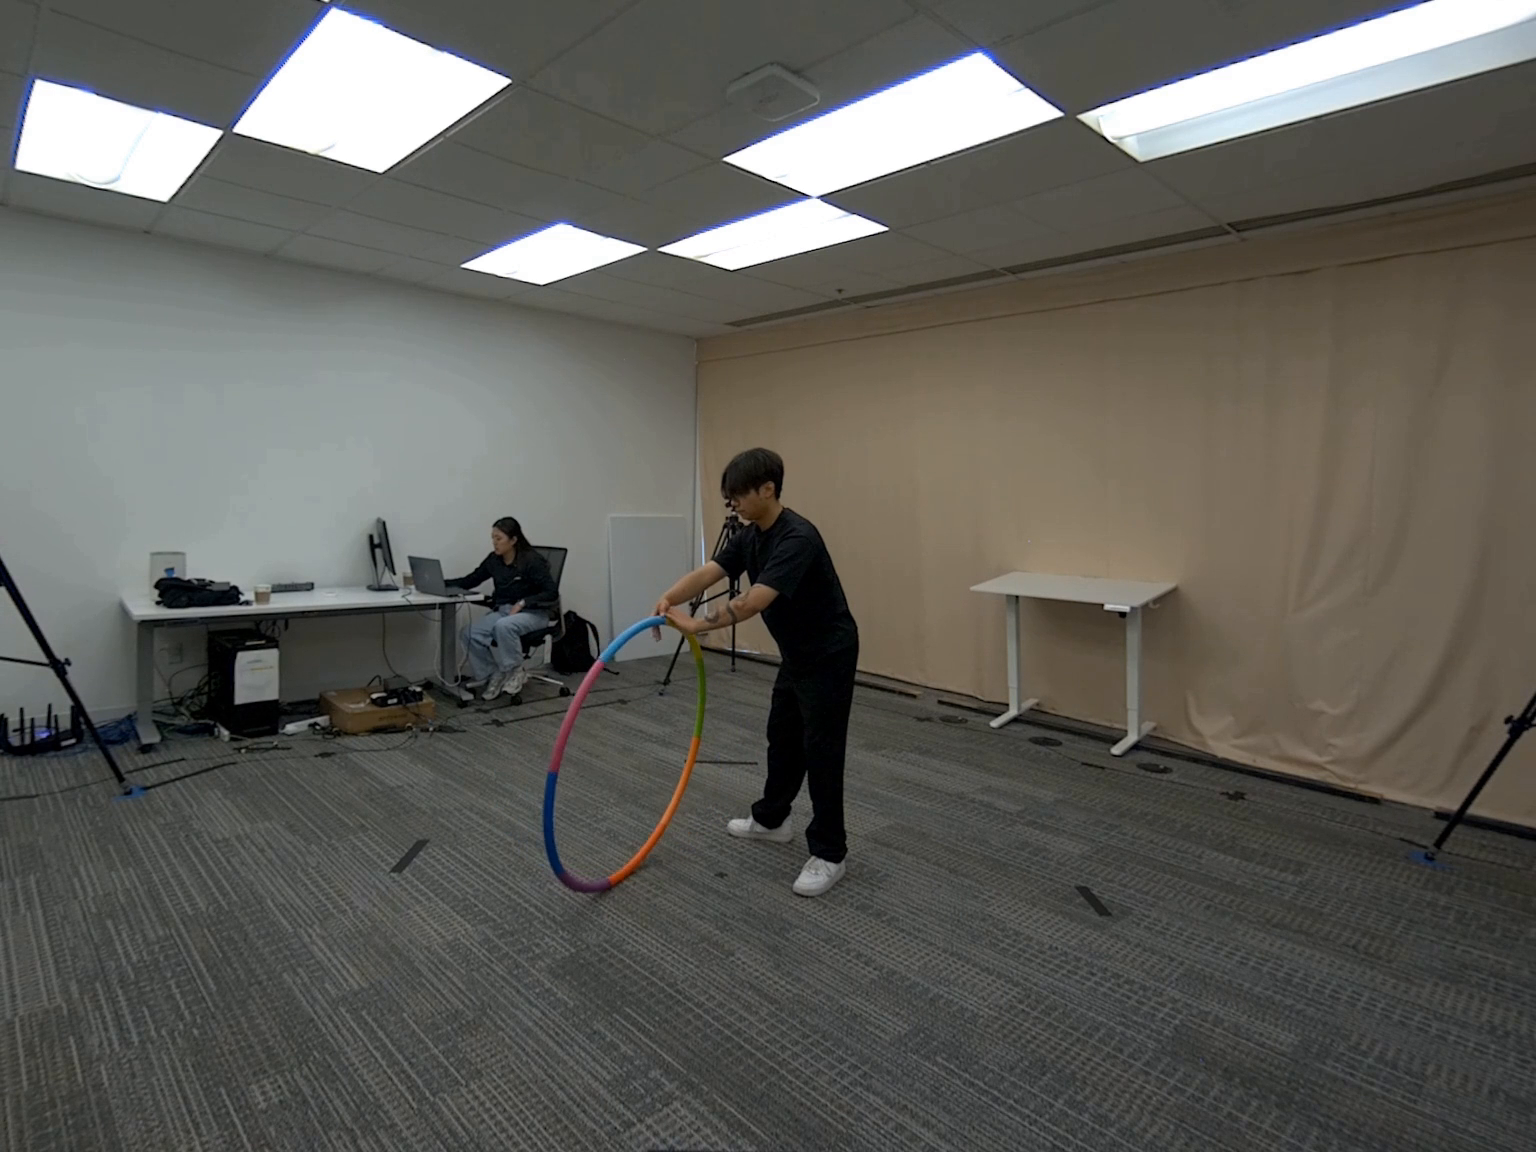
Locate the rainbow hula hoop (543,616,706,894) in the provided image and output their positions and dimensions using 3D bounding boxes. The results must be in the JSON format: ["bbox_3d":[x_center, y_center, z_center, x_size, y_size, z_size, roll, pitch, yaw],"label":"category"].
[{"bbox_3d":[-0.482,0.630,2.974,0.036,0.974,0.963,12,8,23],"label":"rainbow hula hoop"}]
